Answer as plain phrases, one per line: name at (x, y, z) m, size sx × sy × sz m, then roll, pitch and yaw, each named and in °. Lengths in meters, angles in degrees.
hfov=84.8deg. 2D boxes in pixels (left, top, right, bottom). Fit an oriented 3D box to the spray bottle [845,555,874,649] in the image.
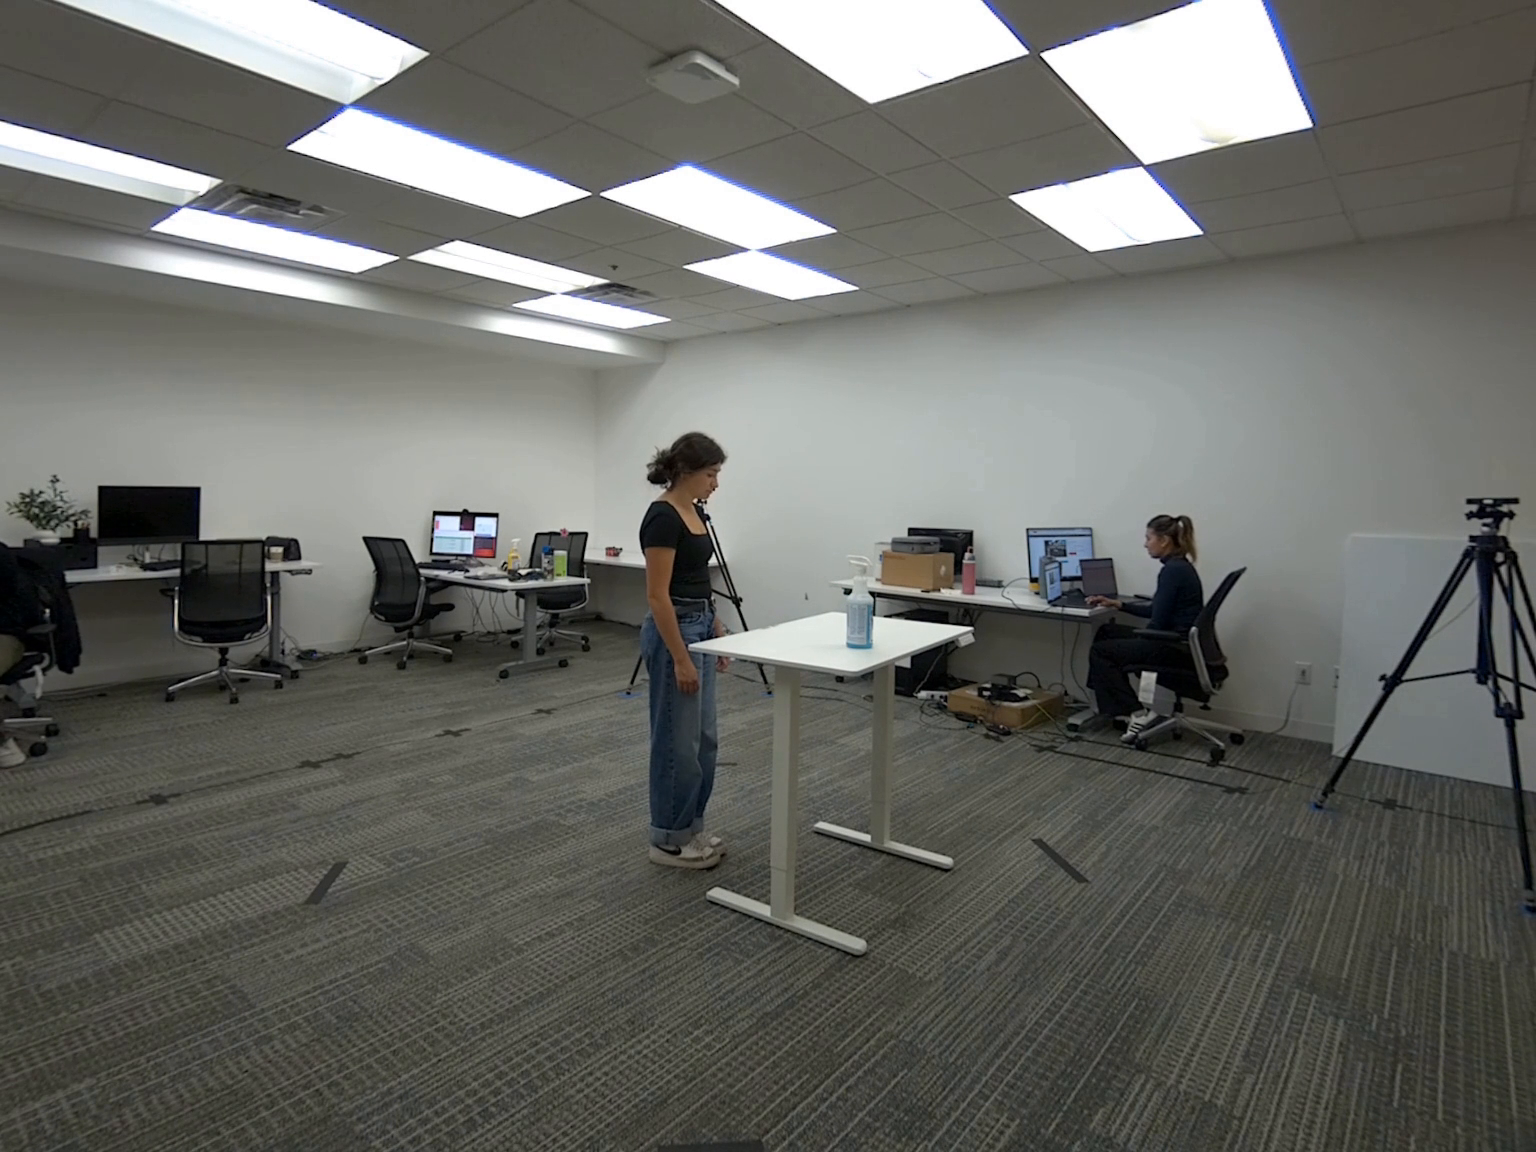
spray bottle at (0.297, 0.083, 2.768) m, size 0.084 × 0.297 × 0.093 m, roll -1°, pitch 2°, yaw -33°
